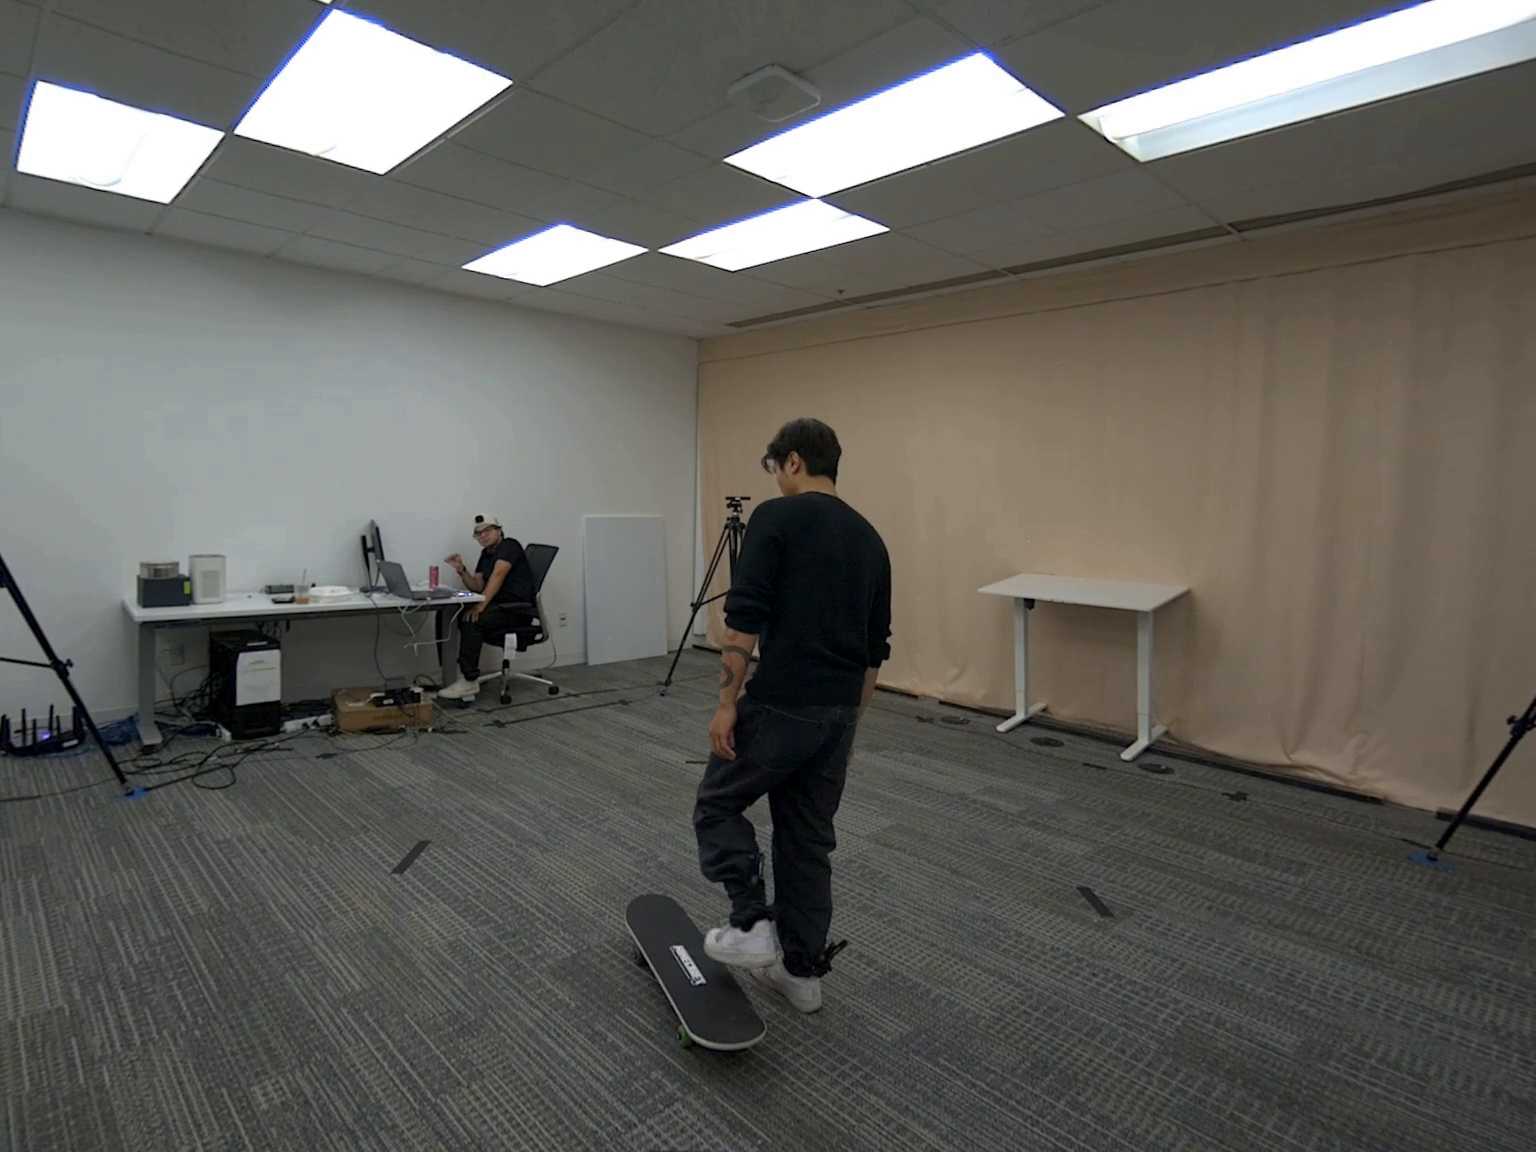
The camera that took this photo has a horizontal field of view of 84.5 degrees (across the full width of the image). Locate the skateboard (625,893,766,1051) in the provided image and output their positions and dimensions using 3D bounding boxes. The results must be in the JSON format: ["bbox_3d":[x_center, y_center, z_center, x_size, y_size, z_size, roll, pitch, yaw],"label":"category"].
[{"bbox_3d":[-0.234,1.117,2.354,0.190,0.110,0.801,0,6,-24],"label":"skateboard"}]
